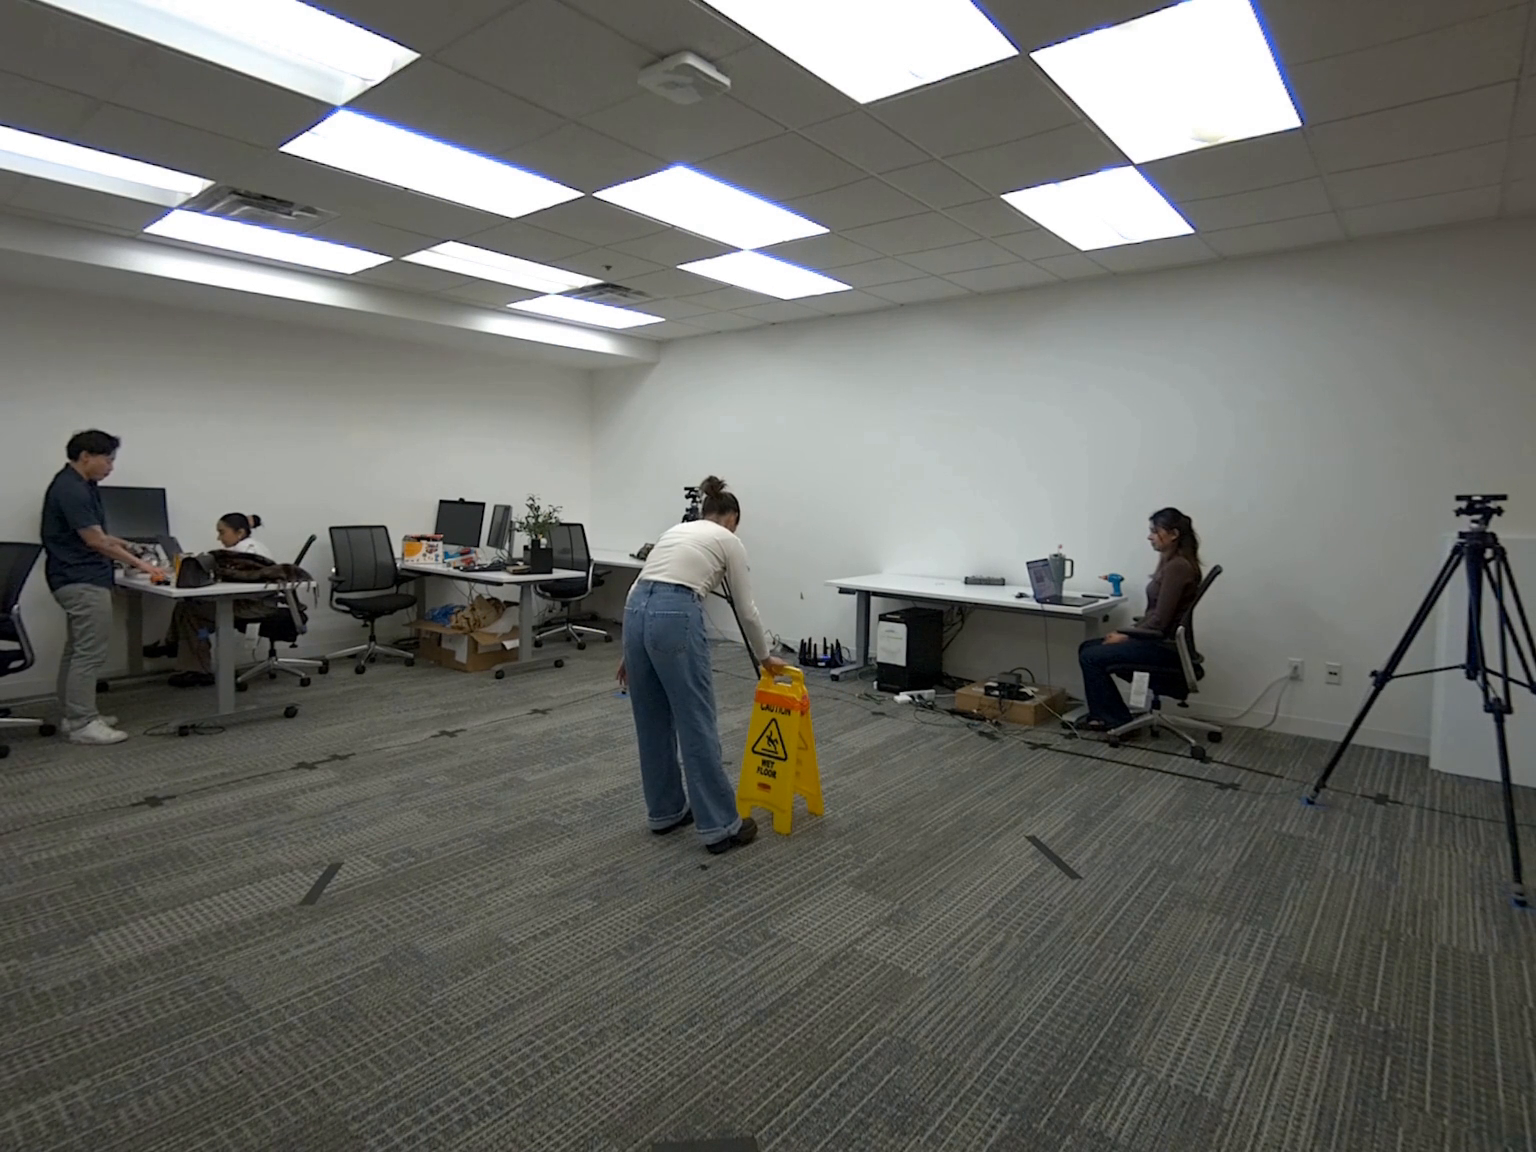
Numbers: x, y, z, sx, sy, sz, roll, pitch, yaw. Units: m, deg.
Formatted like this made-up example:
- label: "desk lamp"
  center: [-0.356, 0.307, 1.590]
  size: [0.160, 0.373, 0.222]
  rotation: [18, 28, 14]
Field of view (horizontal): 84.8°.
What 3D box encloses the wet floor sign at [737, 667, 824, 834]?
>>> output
- label: "wet floor sign"
  center: [0.046, 0.699, 3.593]
  size: [0.291, 0.644, 0.281]
  rotation: [3, 4, 36]
